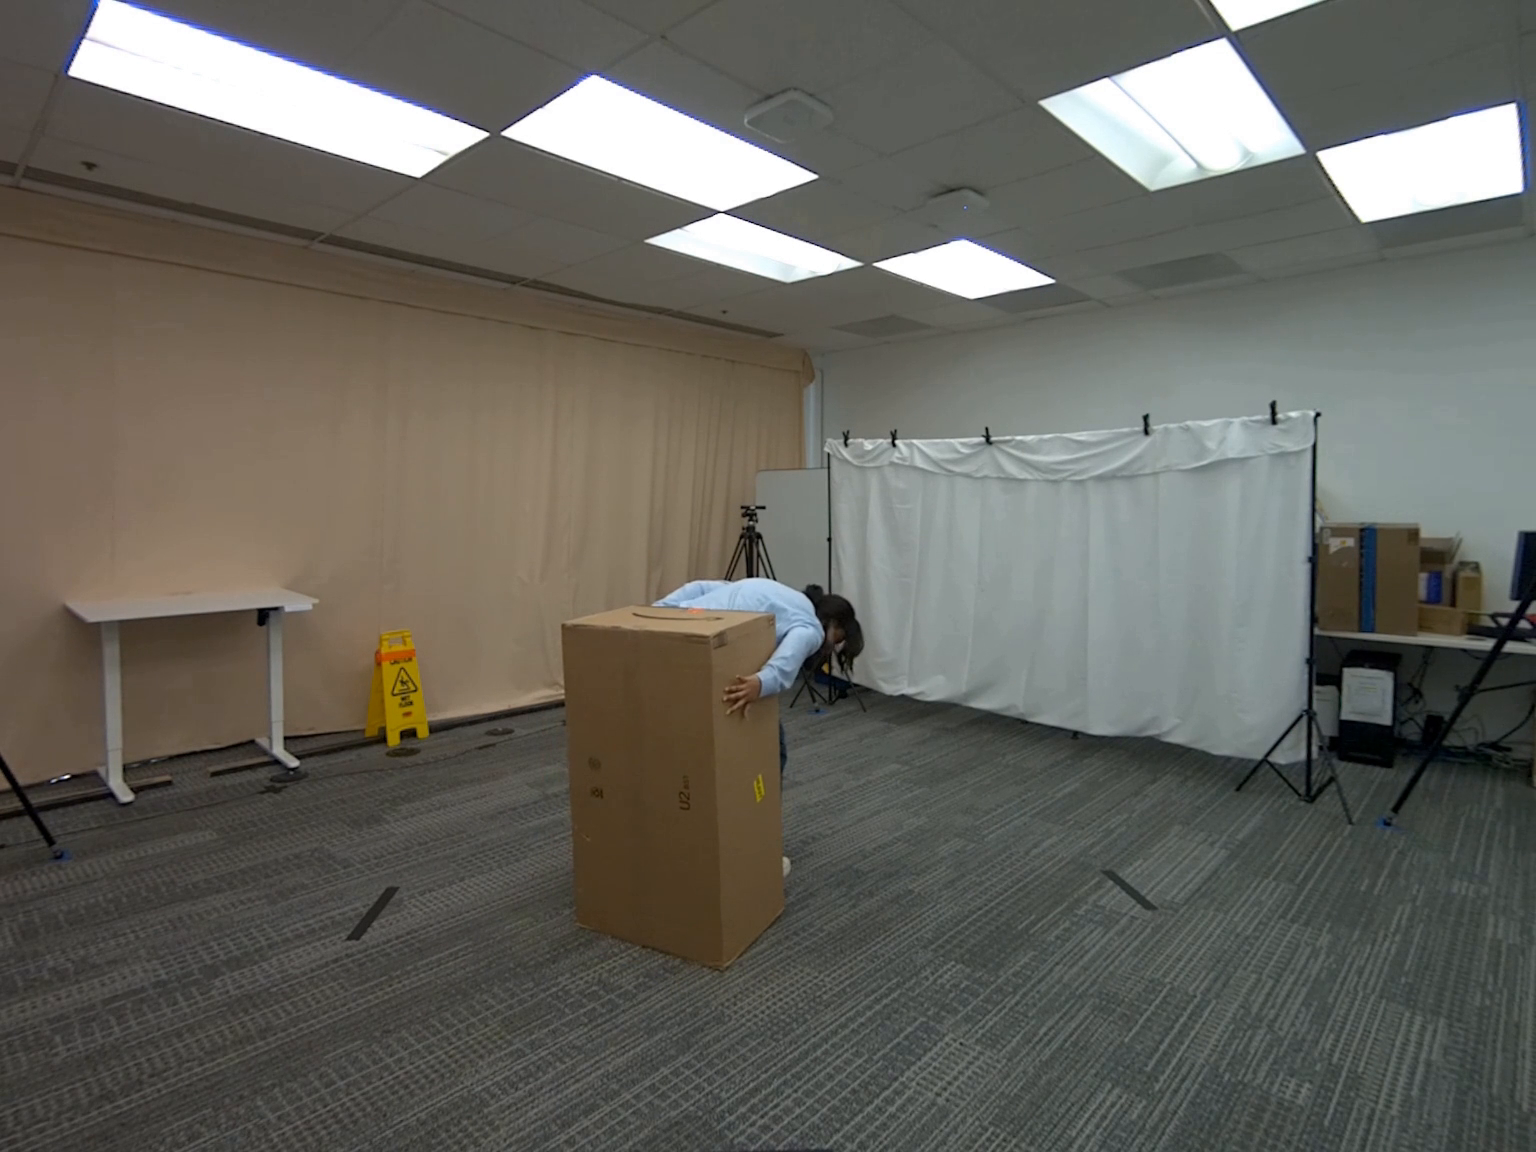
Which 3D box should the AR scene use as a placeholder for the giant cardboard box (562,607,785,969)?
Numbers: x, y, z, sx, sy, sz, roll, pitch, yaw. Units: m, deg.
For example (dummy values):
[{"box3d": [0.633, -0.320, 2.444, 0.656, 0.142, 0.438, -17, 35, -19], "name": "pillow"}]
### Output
[{"box3d": [-0.313, 0.648, 2.800, 0.594, 1.022, 0.415, 0, 5, 30], "name": "giant cardboard box"}]
